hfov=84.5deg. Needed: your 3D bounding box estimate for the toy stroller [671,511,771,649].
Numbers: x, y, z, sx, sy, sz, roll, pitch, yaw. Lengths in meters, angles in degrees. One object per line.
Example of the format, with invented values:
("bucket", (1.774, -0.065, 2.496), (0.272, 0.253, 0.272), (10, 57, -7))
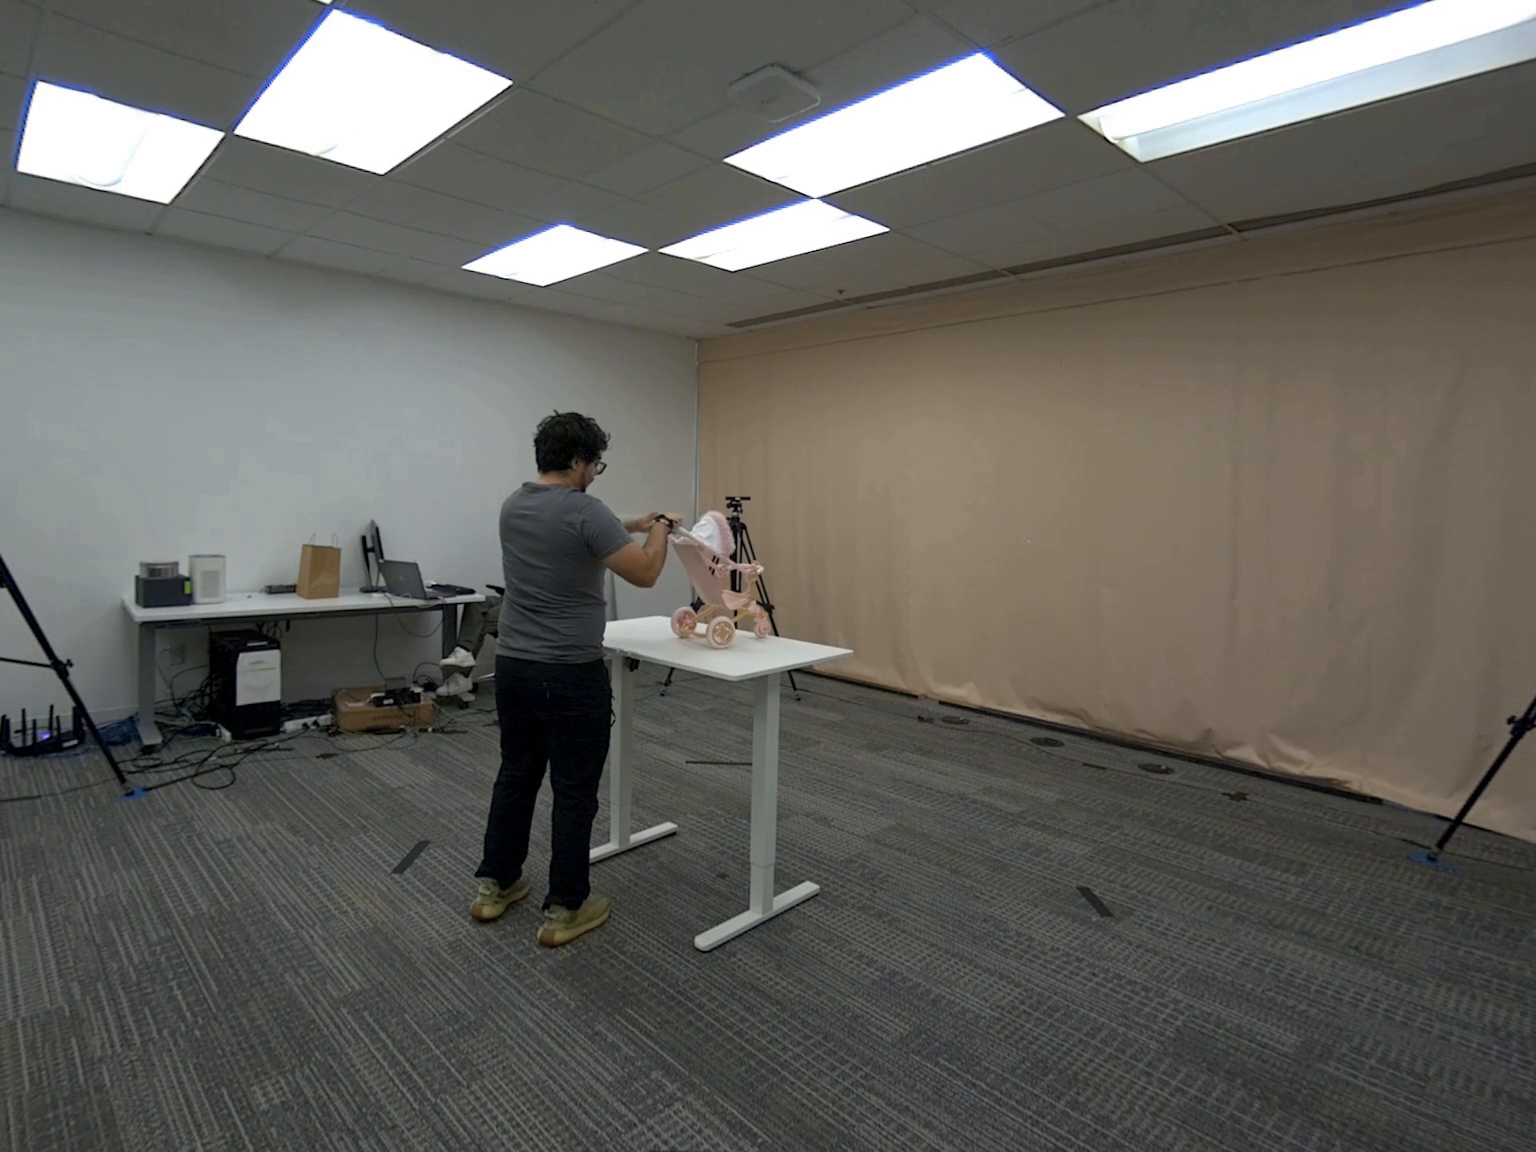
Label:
("toy stroller", (-0.187, 0.011, 2.961), (0.337, 0.529, 0.288), (-18, 13, -27))
